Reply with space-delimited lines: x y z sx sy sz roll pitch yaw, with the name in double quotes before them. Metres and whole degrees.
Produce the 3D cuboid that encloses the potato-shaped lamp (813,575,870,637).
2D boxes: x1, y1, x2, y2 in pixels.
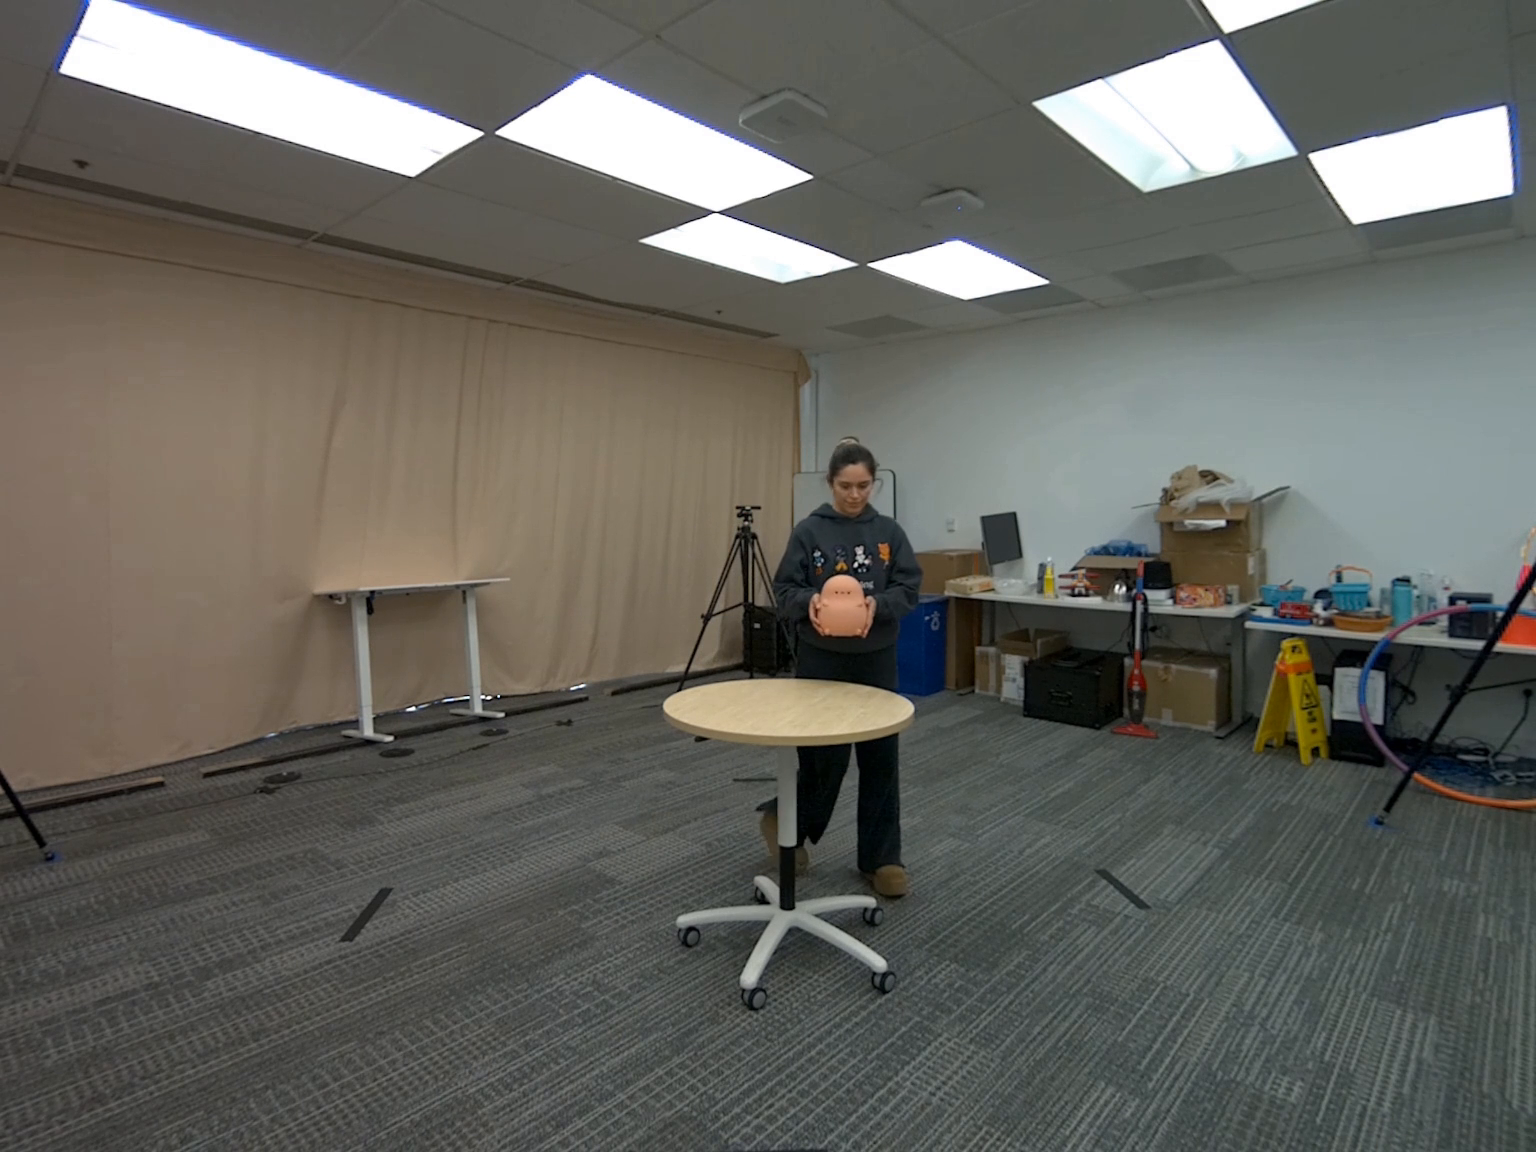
"potato-shaped lamp" 0.248 0.093 2.803 0.166 0.198 0.170 -9 1 7
